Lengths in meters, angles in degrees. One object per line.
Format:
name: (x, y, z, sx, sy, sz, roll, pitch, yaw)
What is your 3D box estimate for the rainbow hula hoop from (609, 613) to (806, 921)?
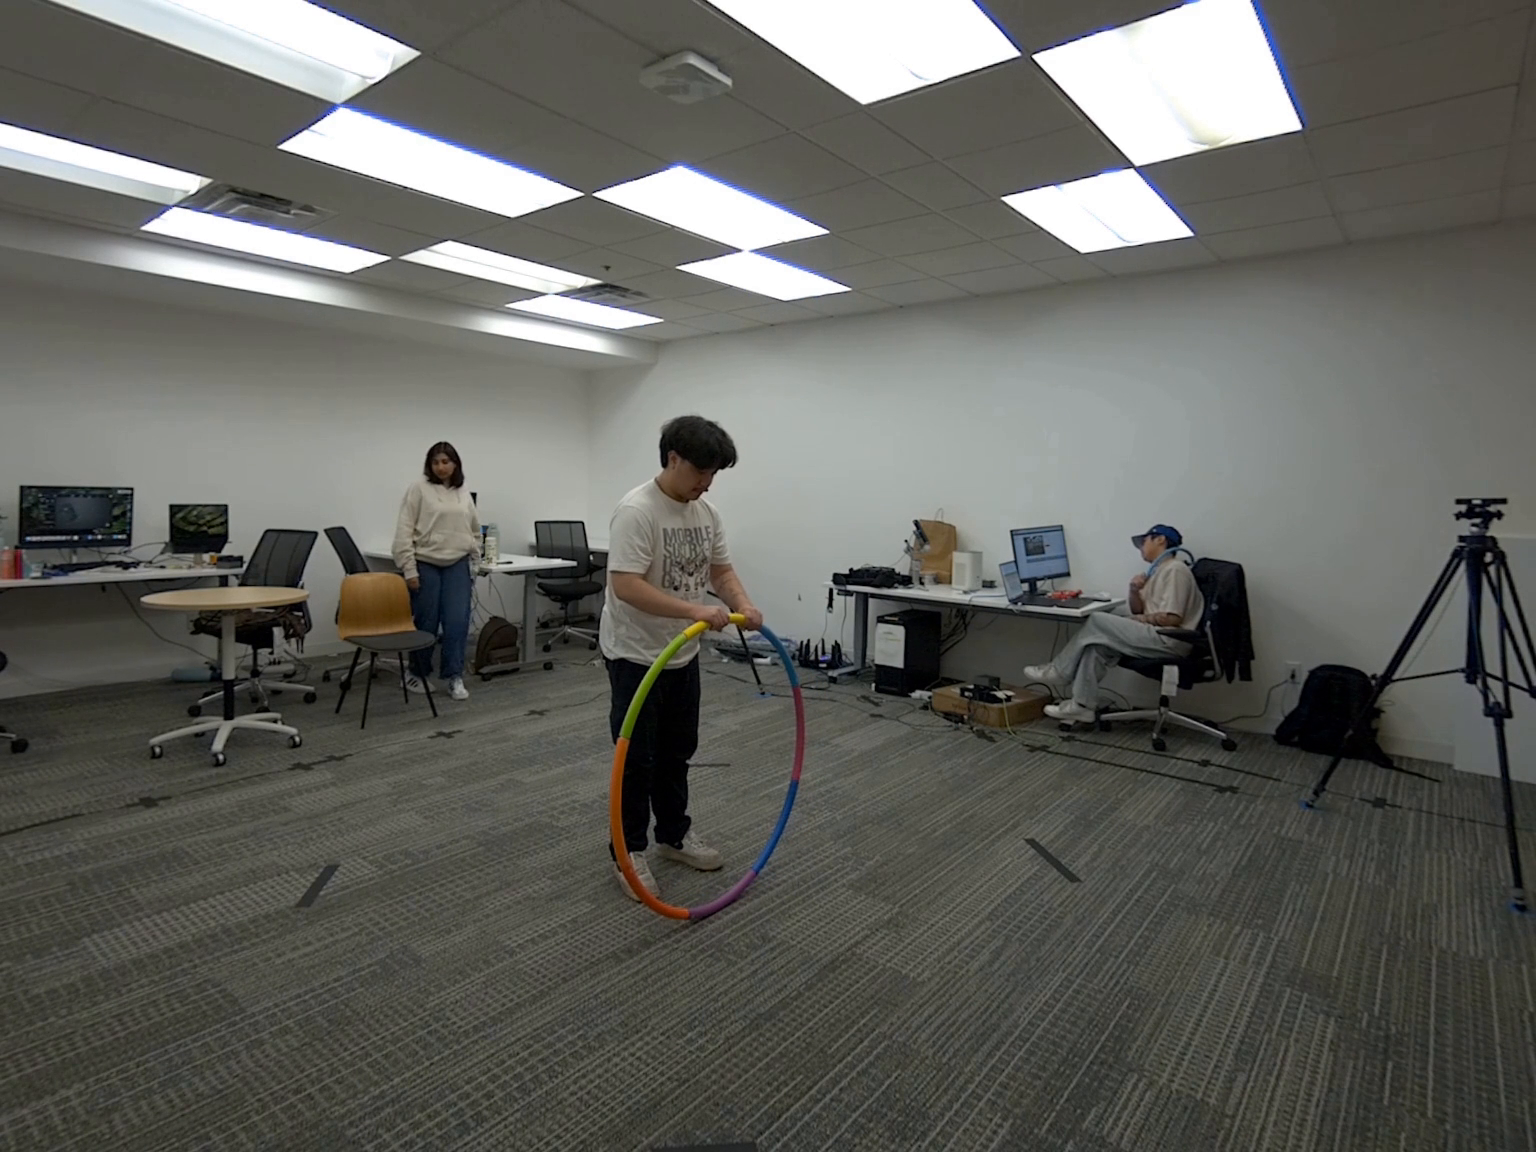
rainbow hula hoop: (-0.166, 0.614, 2.801, 0.053, 0.983, 0.957, 2, 4, 38)
